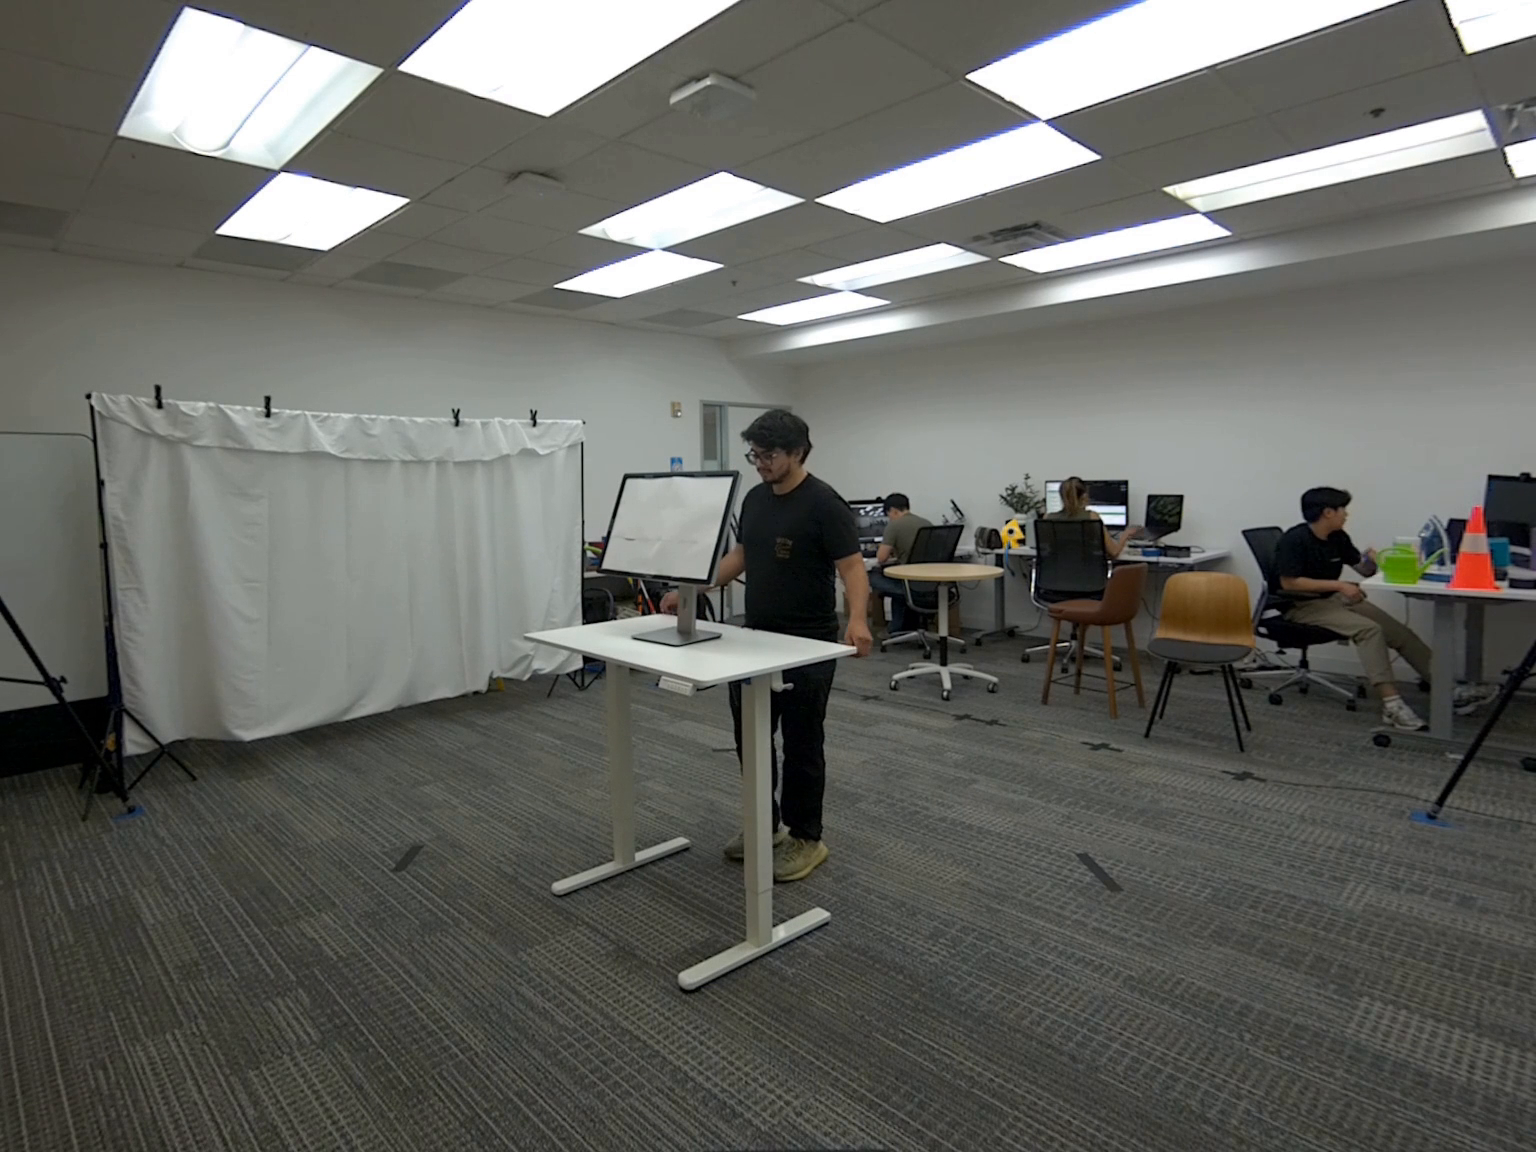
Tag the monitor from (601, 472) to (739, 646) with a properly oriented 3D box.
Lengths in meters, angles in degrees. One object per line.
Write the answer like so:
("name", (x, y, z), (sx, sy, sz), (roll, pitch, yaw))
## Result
("monitor", (-0.288, -0.065, 2.802), (0.583, 0.556, 0.203), (3, -5, 44))
